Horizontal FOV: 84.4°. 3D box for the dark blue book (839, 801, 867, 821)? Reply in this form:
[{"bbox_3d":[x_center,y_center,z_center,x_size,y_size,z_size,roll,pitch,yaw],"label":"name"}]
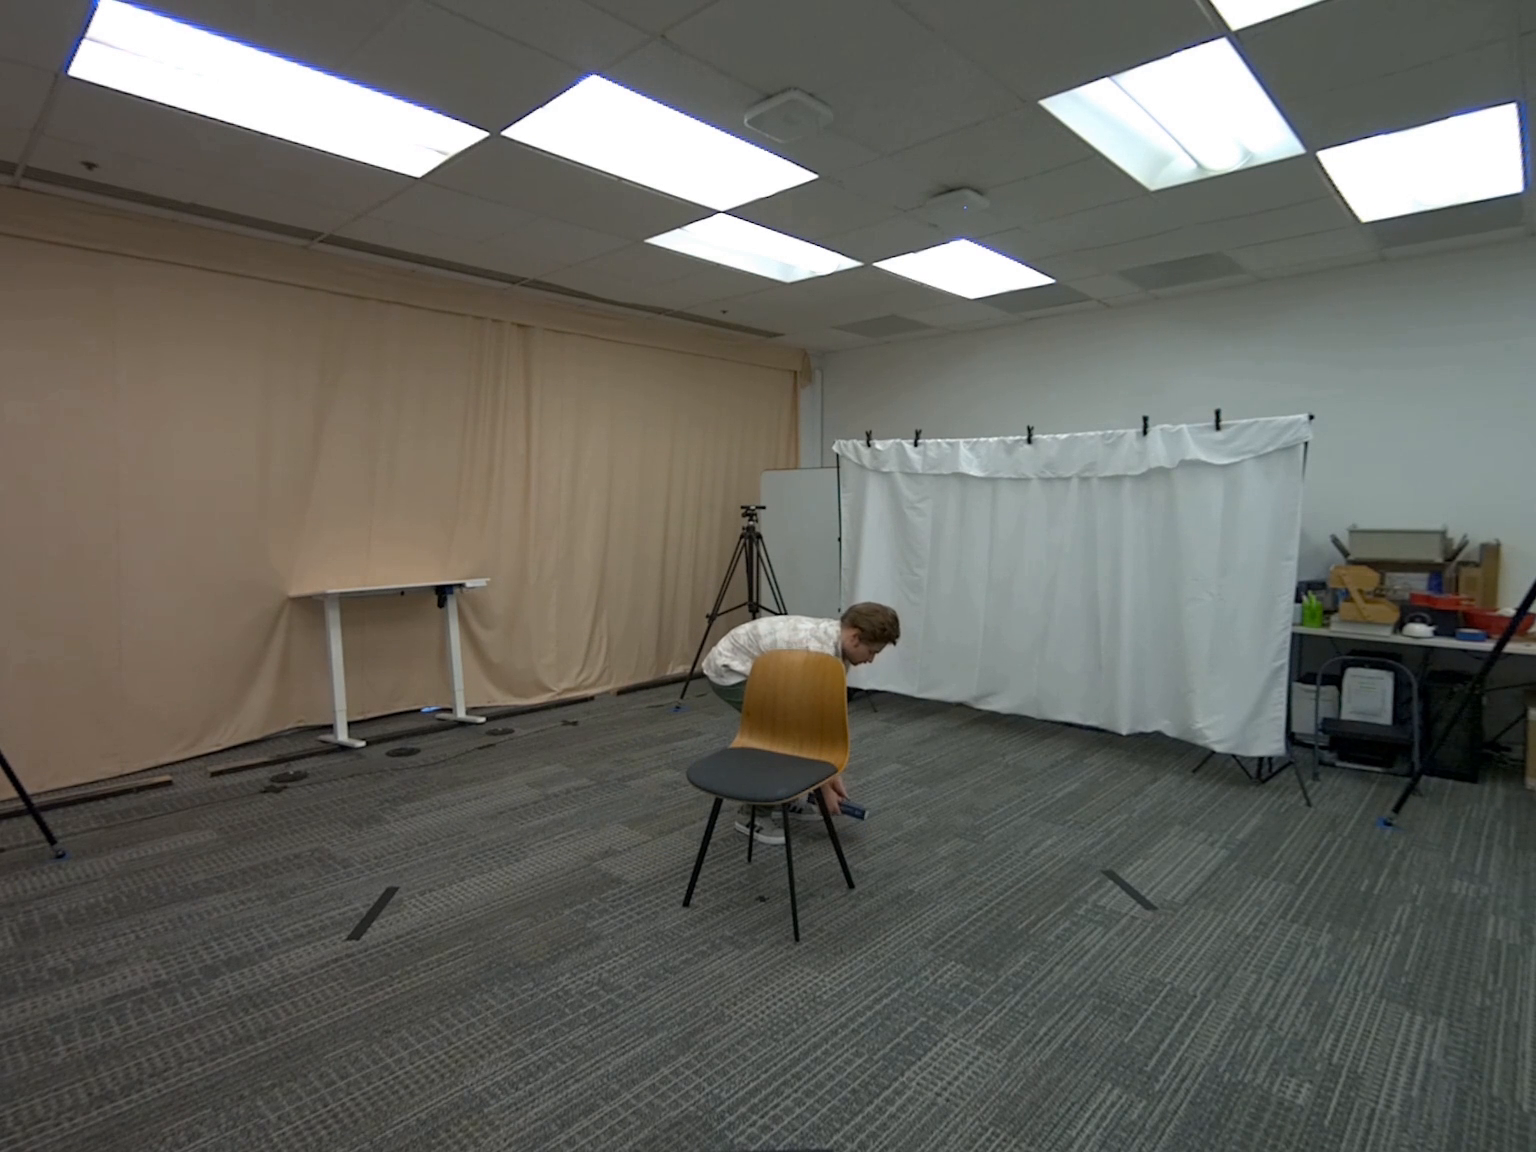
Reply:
[{"bbox_3d":[0.294,0.957,3.523,0.250,0.045,0.160,13,-9,16],"label":"dark blue book"}]
